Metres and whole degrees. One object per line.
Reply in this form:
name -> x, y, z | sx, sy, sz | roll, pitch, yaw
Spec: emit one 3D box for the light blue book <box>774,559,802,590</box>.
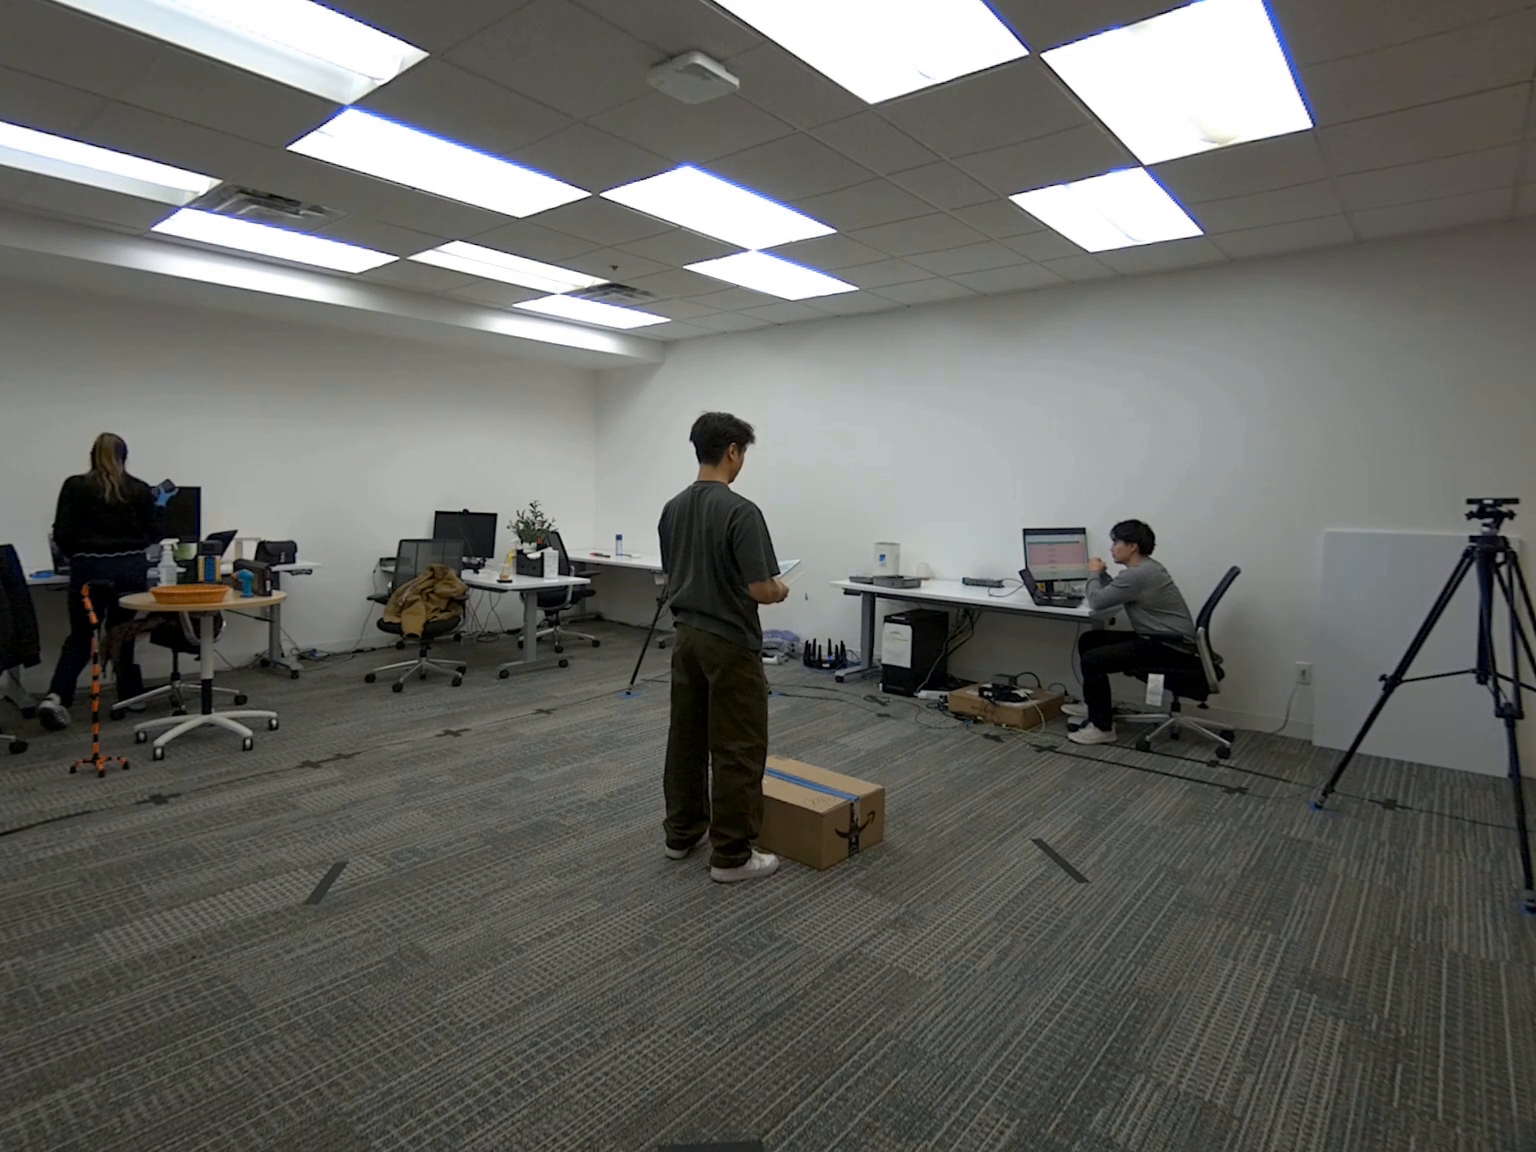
light blue book -> 0.005, 0.021, 3.329 | 0.197, 0.058, 0.258 | -5, 23, 46
